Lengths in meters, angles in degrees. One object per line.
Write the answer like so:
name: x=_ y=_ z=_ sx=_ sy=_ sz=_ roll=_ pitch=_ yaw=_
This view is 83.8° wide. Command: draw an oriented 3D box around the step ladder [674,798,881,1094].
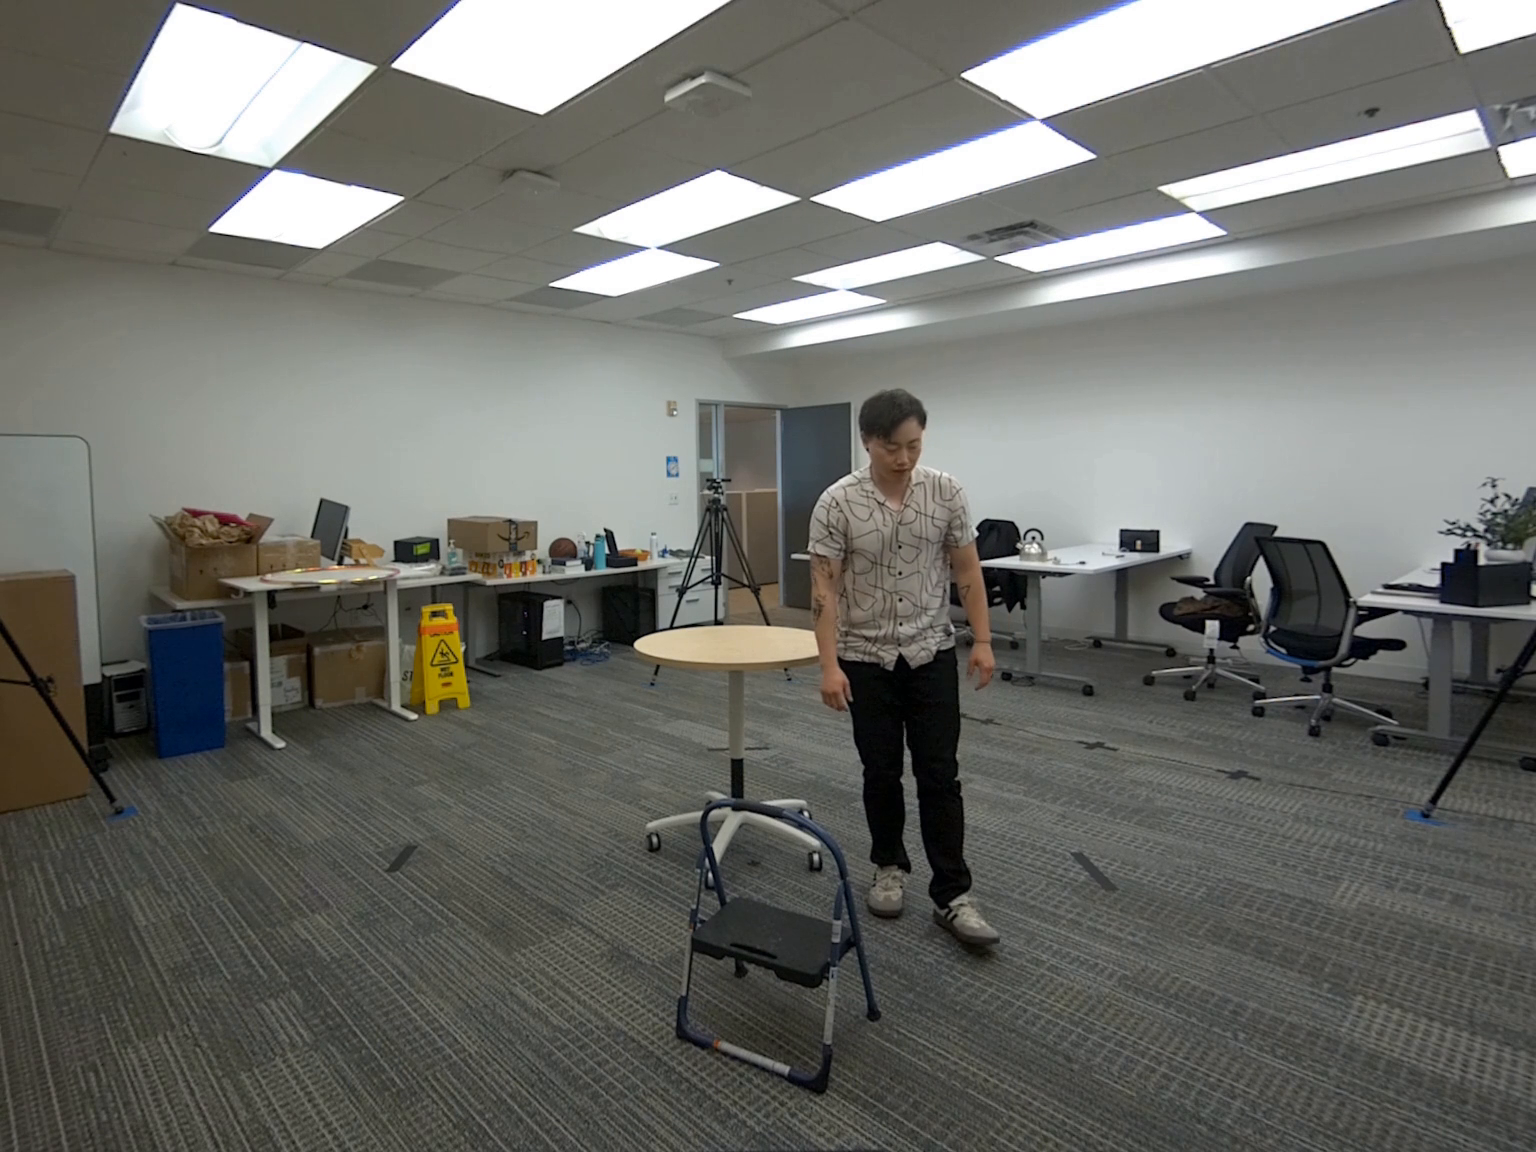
step ladder: x=0.026 y=0.852 z=2.163 sx=0.442 sy=0.603 sz=0.342 roll=2 pitch=6 yaw=30
